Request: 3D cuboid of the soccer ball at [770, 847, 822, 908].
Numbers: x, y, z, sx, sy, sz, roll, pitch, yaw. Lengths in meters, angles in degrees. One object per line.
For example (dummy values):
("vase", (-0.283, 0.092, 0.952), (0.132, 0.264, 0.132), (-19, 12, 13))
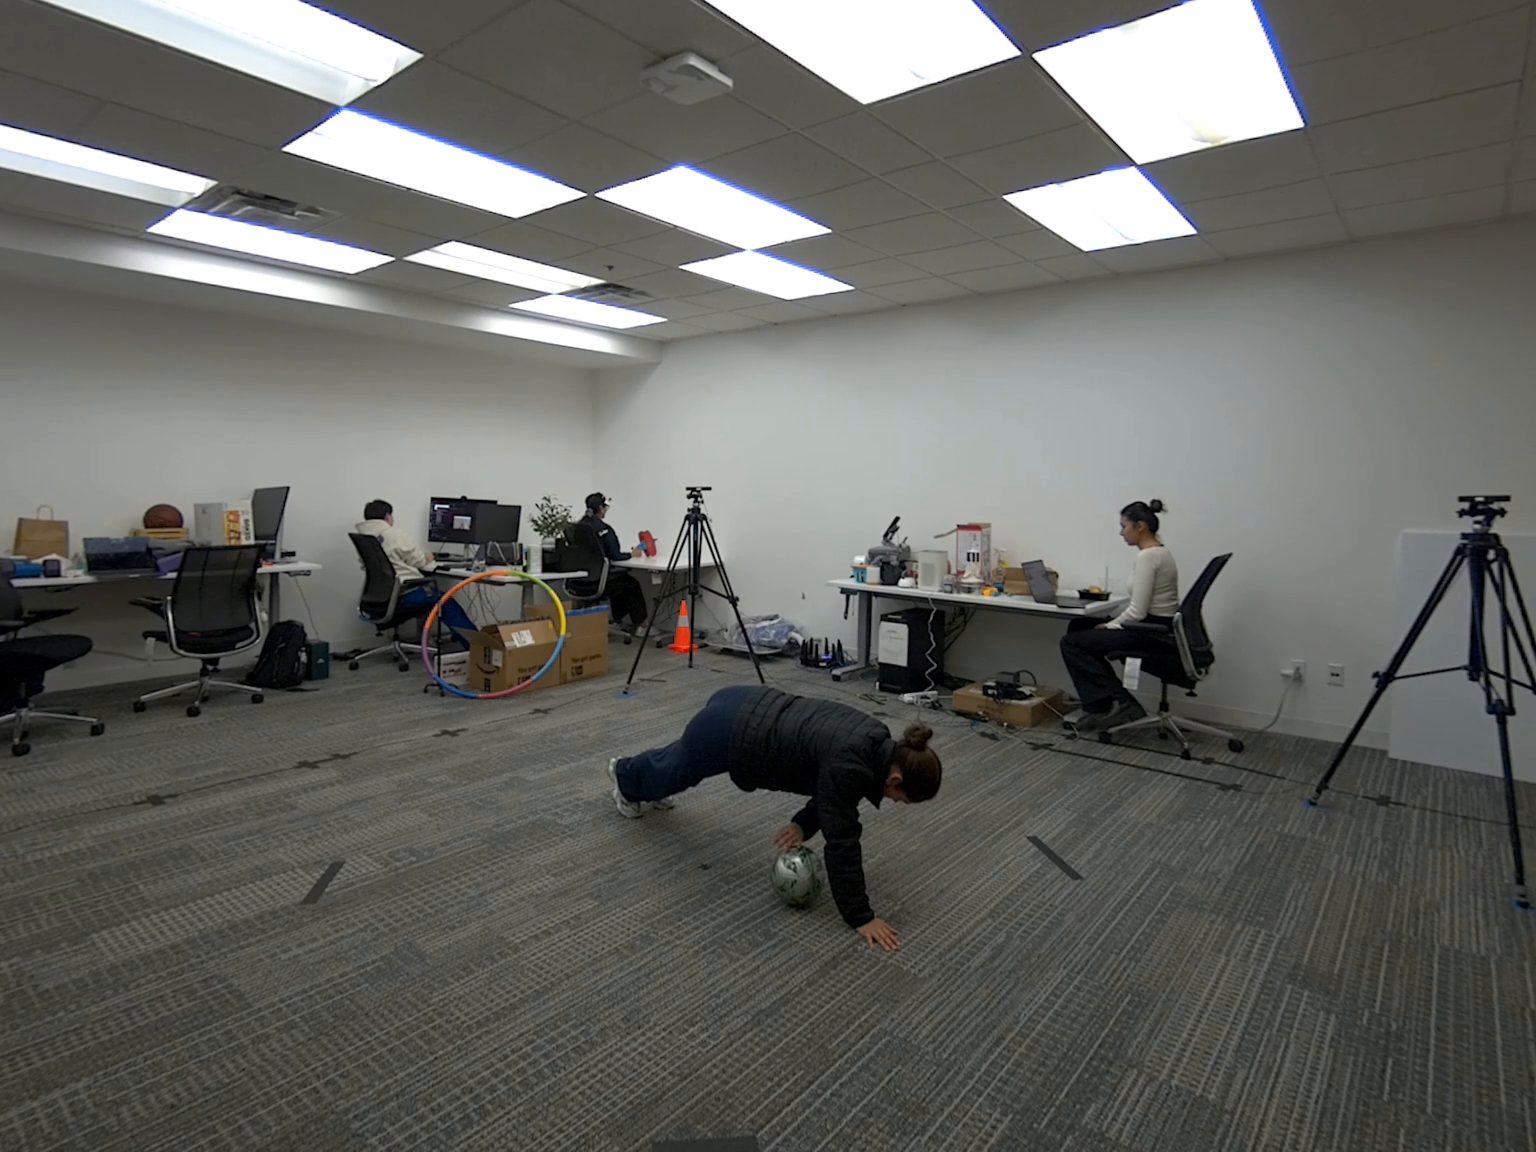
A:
("soccer ball", (0.097, 1.003, 2.863), (0.187, 0.187, 0.188), (1, 4, -2))
